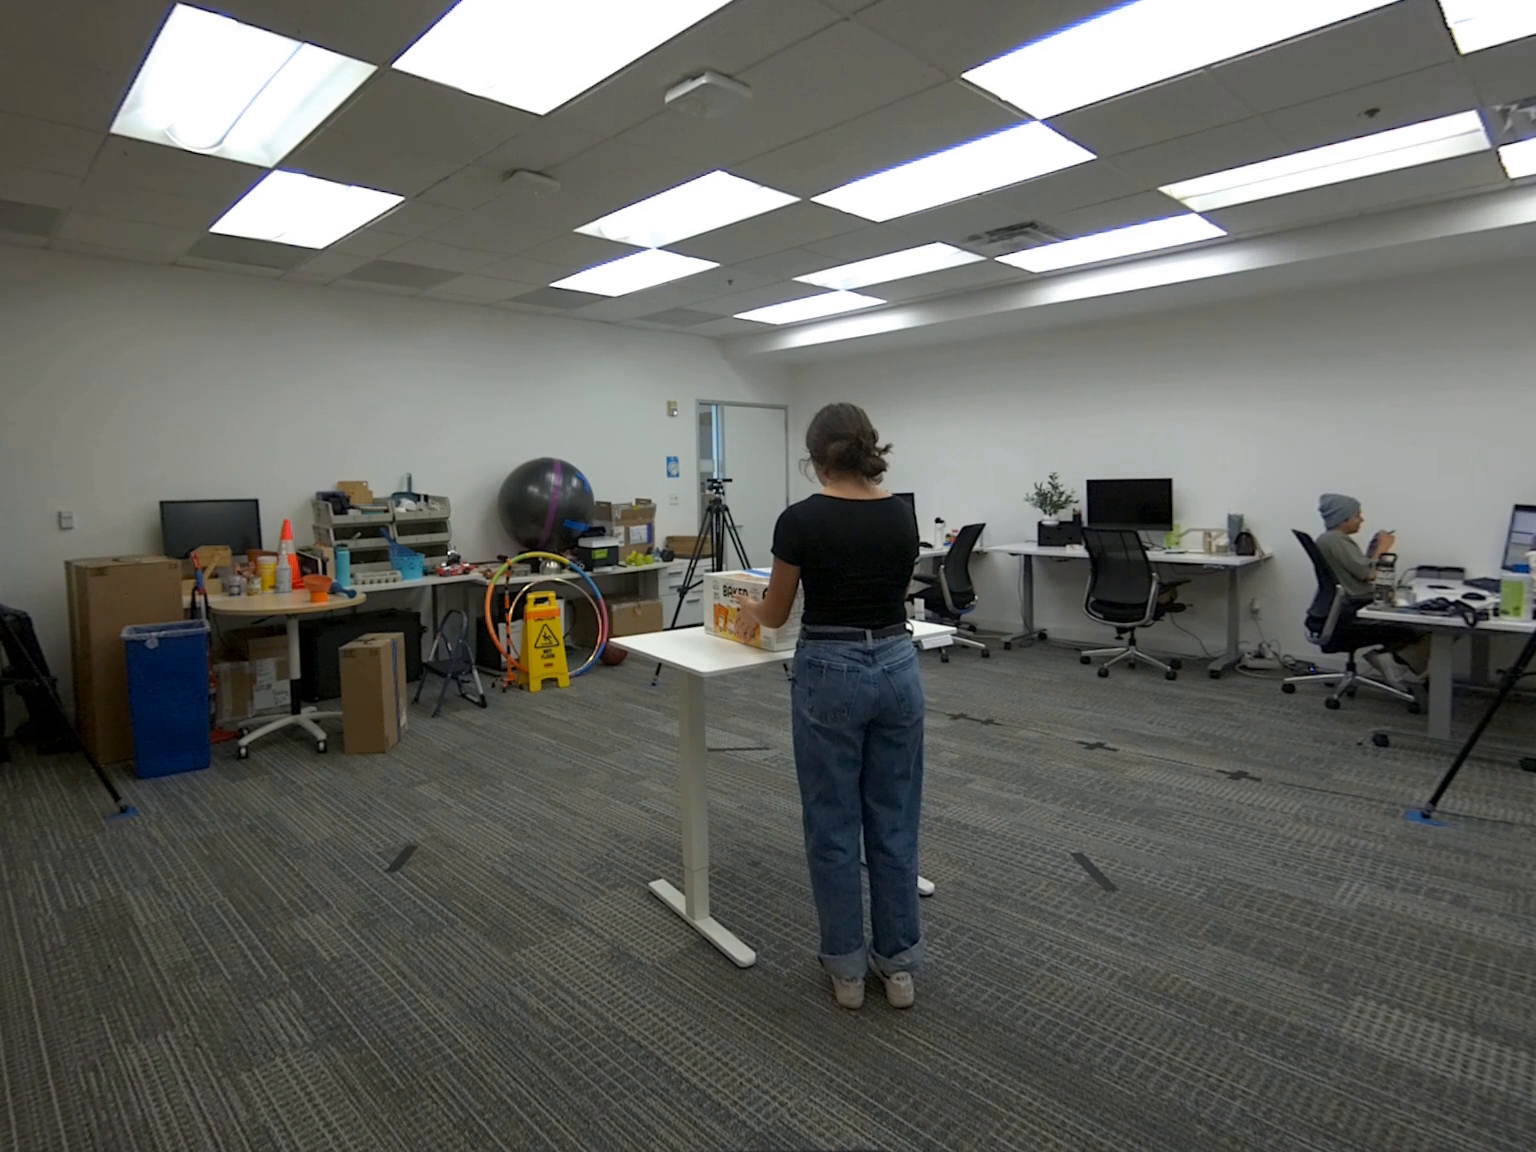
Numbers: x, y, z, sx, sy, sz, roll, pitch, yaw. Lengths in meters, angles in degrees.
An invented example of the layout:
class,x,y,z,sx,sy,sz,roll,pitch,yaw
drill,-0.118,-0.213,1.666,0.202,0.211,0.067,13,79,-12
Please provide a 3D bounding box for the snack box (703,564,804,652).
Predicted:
class,x,y,z,sx,sy,sz,roll,pitch,yaw
snack box,0.041,0.095,2.788,0.332,0.205,0.417,-5,7,-33
